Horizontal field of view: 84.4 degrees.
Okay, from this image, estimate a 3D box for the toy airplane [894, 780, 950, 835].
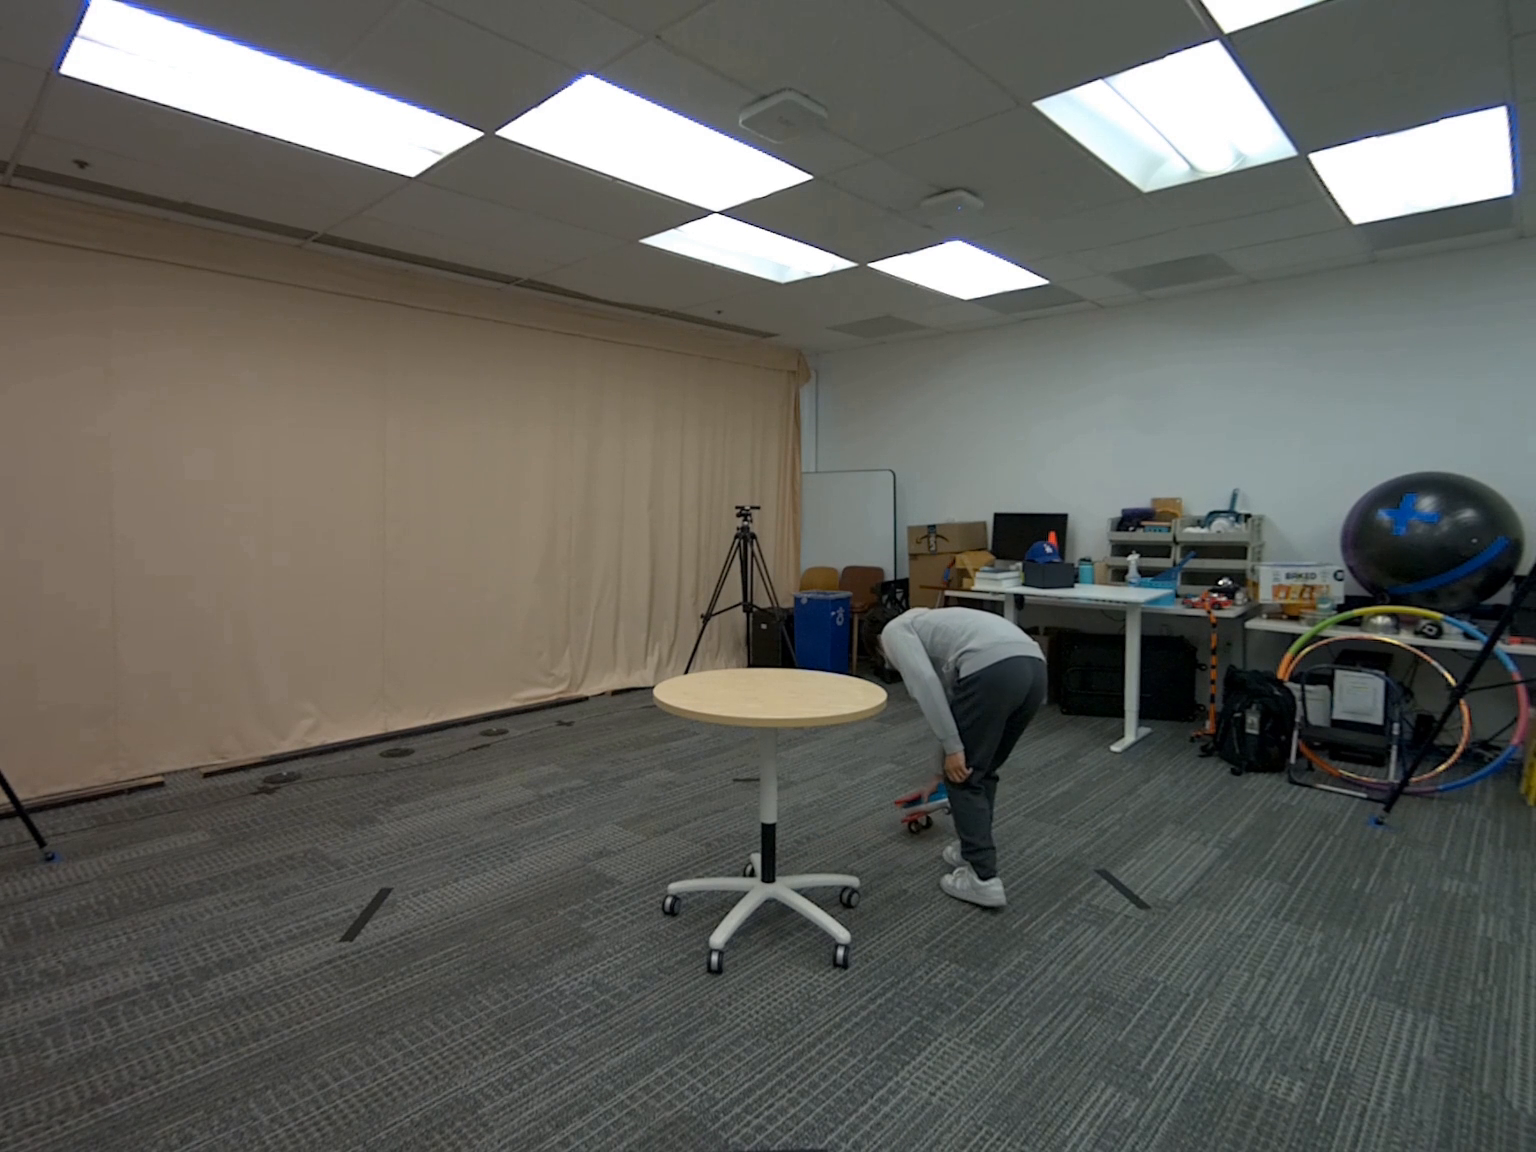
[{"bbox_3d":[0.690,0.982,3.598,0.261,0.160,0.243,-33,-25,13],"label":"toy airplane"}]
